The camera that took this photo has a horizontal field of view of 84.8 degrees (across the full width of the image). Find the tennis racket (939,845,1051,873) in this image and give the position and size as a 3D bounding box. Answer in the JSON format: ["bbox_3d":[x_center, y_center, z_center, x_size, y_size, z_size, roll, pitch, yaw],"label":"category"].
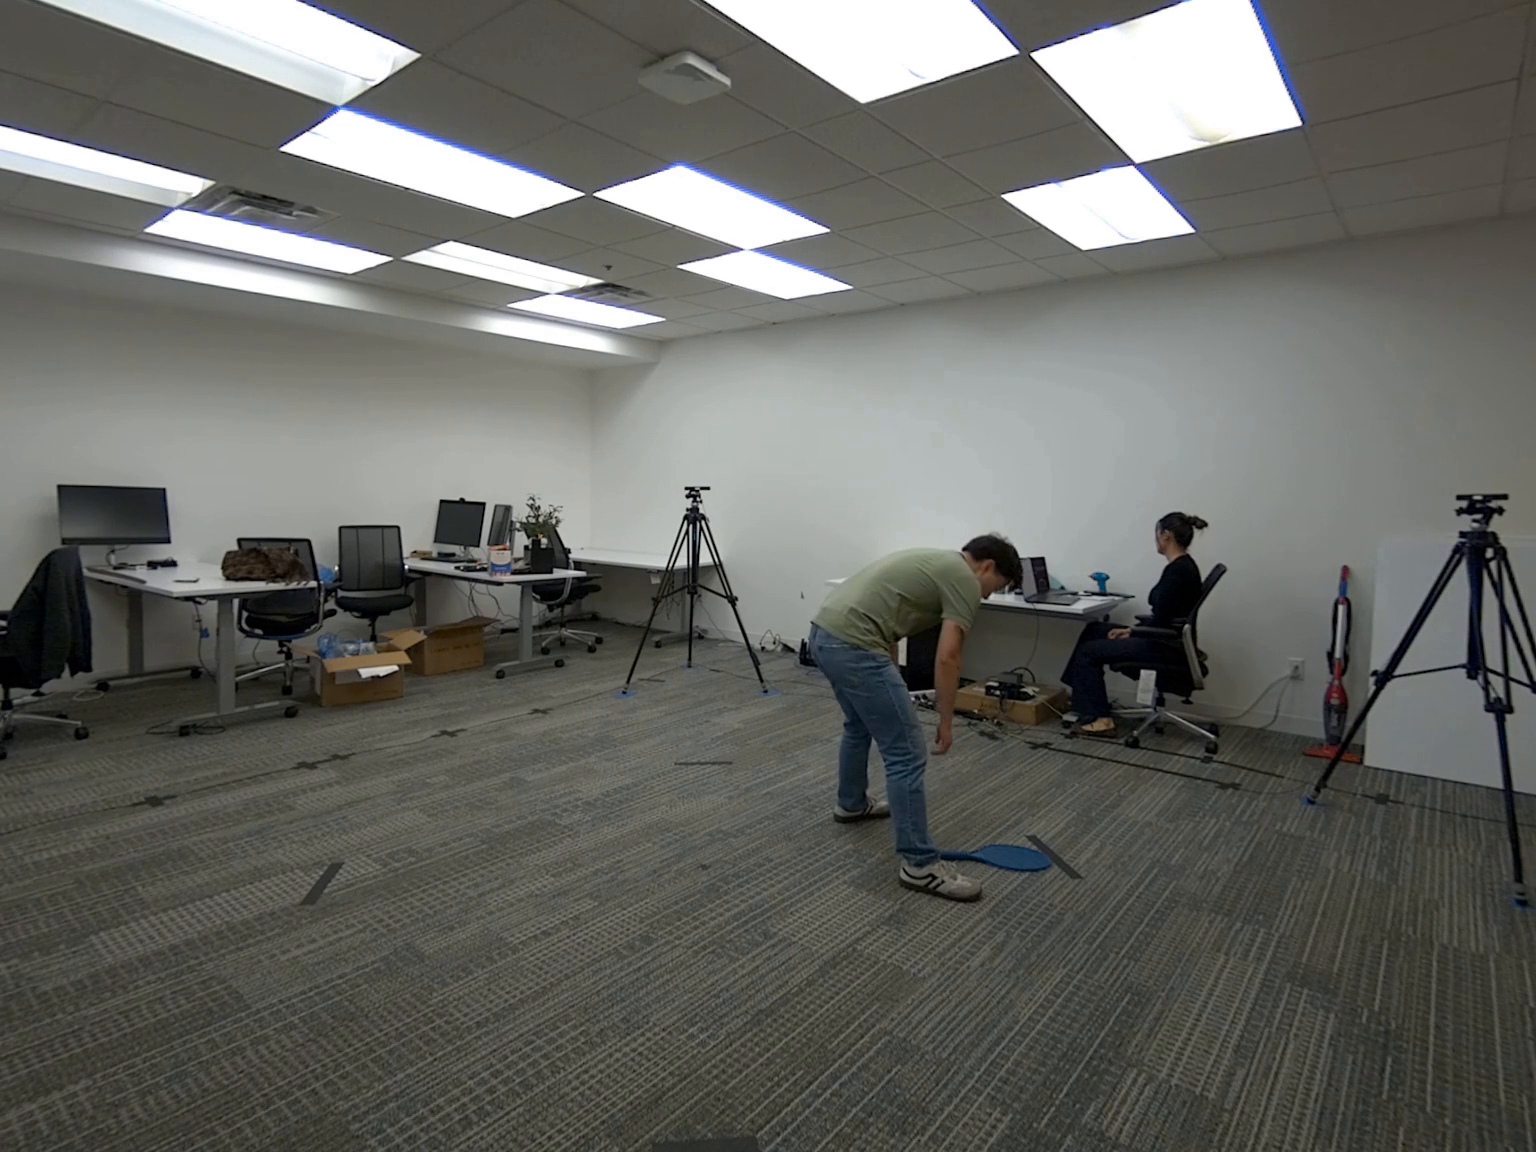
[{"bbox_3d":[0.841,1.059,3.233,0.433,0.031,0.215,2,6,-1],"label":"tennis racket"}]
